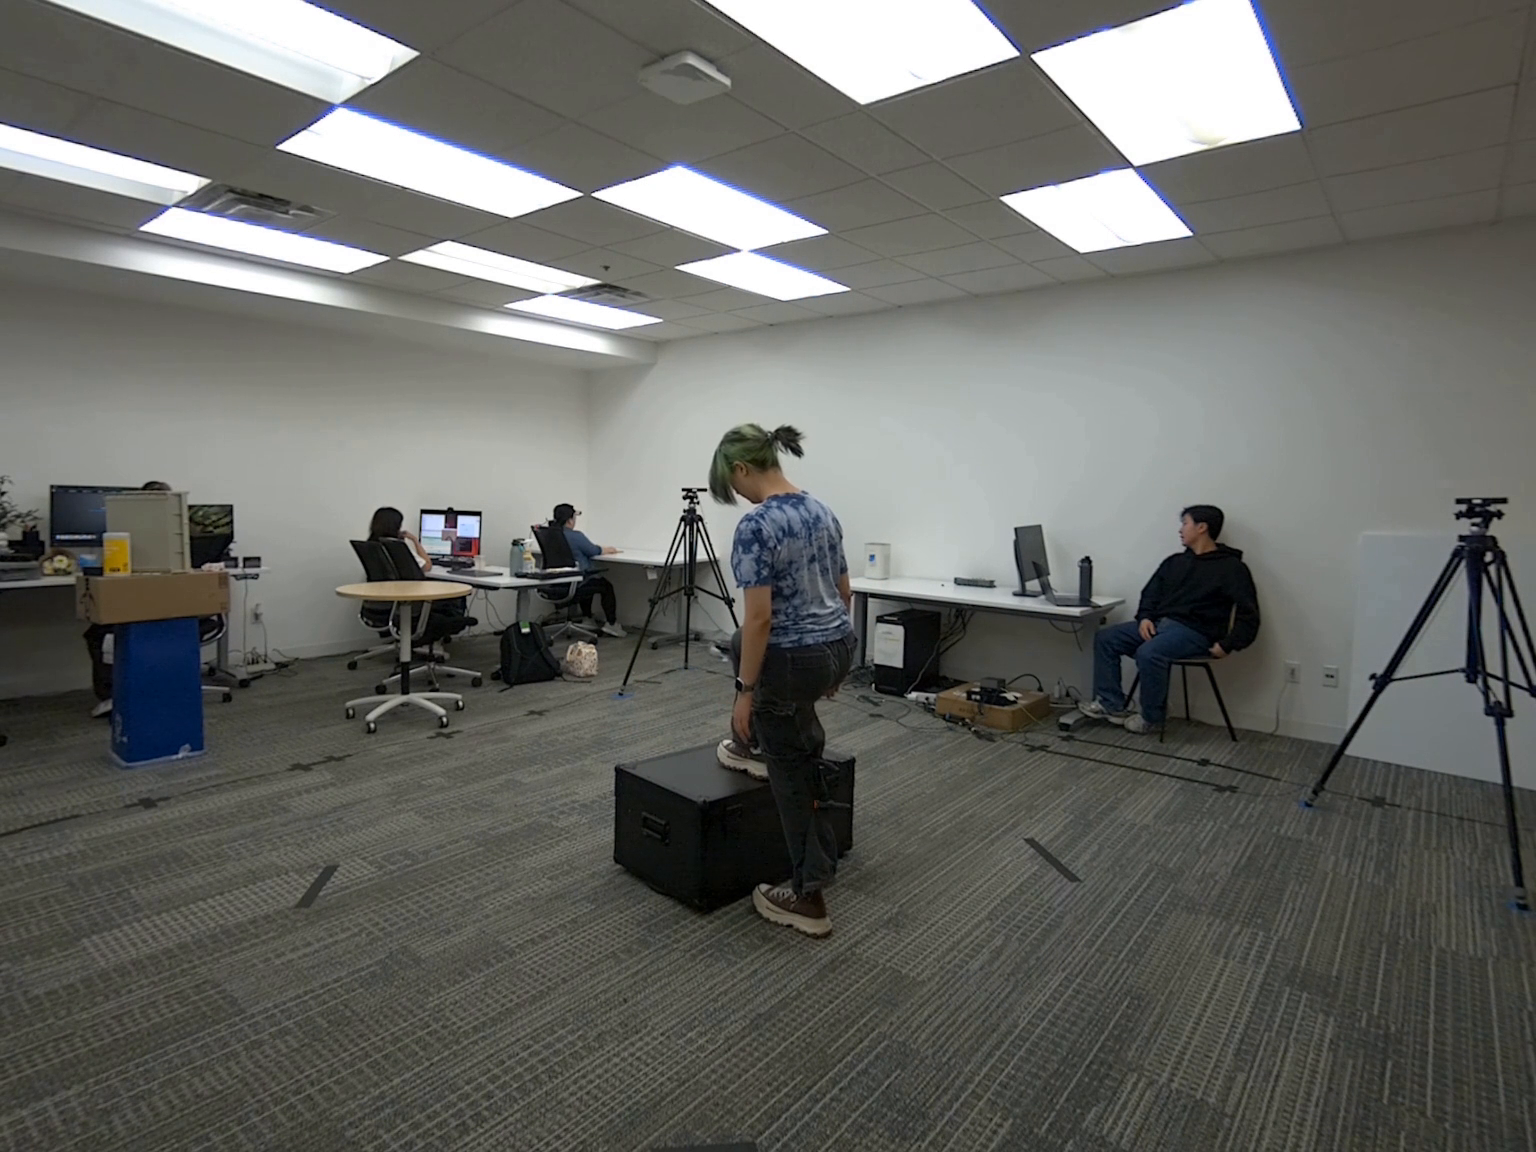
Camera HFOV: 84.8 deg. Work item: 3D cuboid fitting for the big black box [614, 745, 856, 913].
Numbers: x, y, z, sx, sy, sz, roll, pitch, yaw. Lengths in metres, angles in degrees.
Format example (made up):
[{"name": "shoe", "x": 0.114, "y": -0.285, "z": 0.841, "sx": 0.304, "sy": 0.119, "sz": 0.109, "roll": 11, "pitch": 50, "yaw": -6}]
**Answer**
[{"name": "big black box", "x": -0.099, "y": 0.874, "z": 3.190, "sx": 0.836, "sy": 0.395, "sz": 0.539, "roll": -4, "pitch": 7, "yaw": -44}]
